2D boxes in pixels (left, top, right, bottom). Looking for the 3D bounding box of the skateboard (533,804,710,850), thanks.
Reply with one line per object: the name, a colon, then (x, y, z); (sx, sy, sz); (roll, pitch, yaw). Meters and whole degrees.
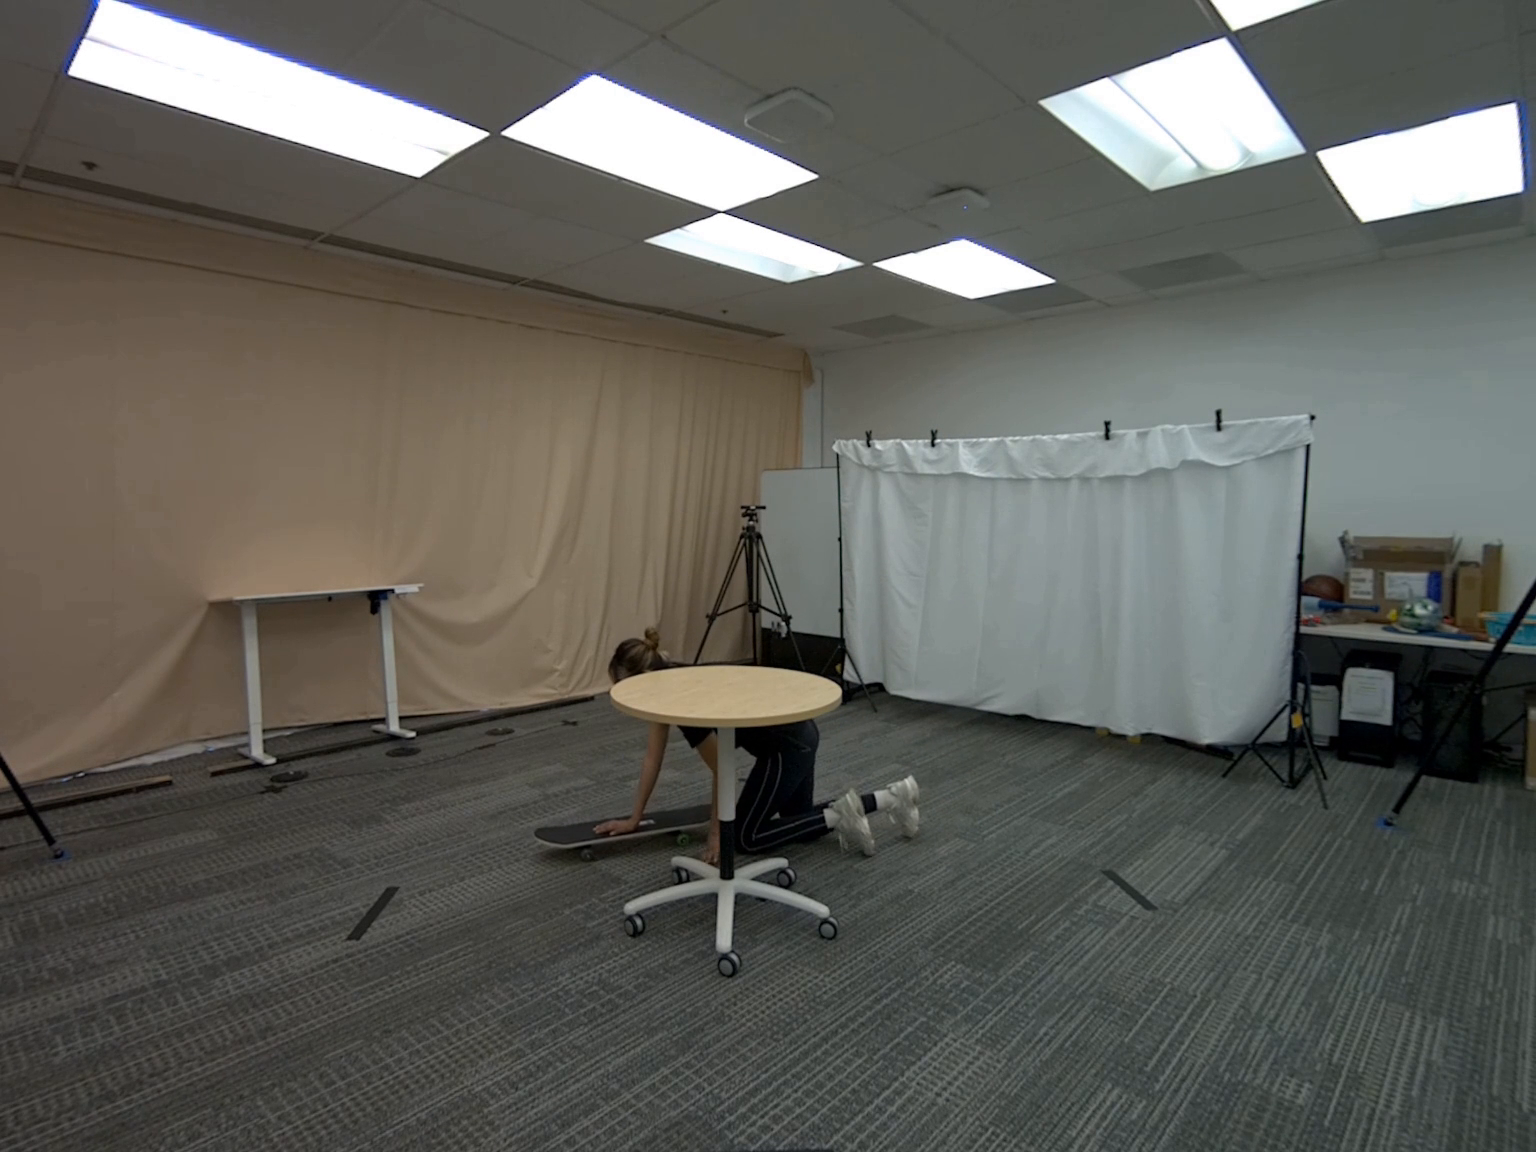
skateboard: (-0.571, 1.057, 3.459); (0.769, 0.110, 0.198); (-2, 5, -21)
